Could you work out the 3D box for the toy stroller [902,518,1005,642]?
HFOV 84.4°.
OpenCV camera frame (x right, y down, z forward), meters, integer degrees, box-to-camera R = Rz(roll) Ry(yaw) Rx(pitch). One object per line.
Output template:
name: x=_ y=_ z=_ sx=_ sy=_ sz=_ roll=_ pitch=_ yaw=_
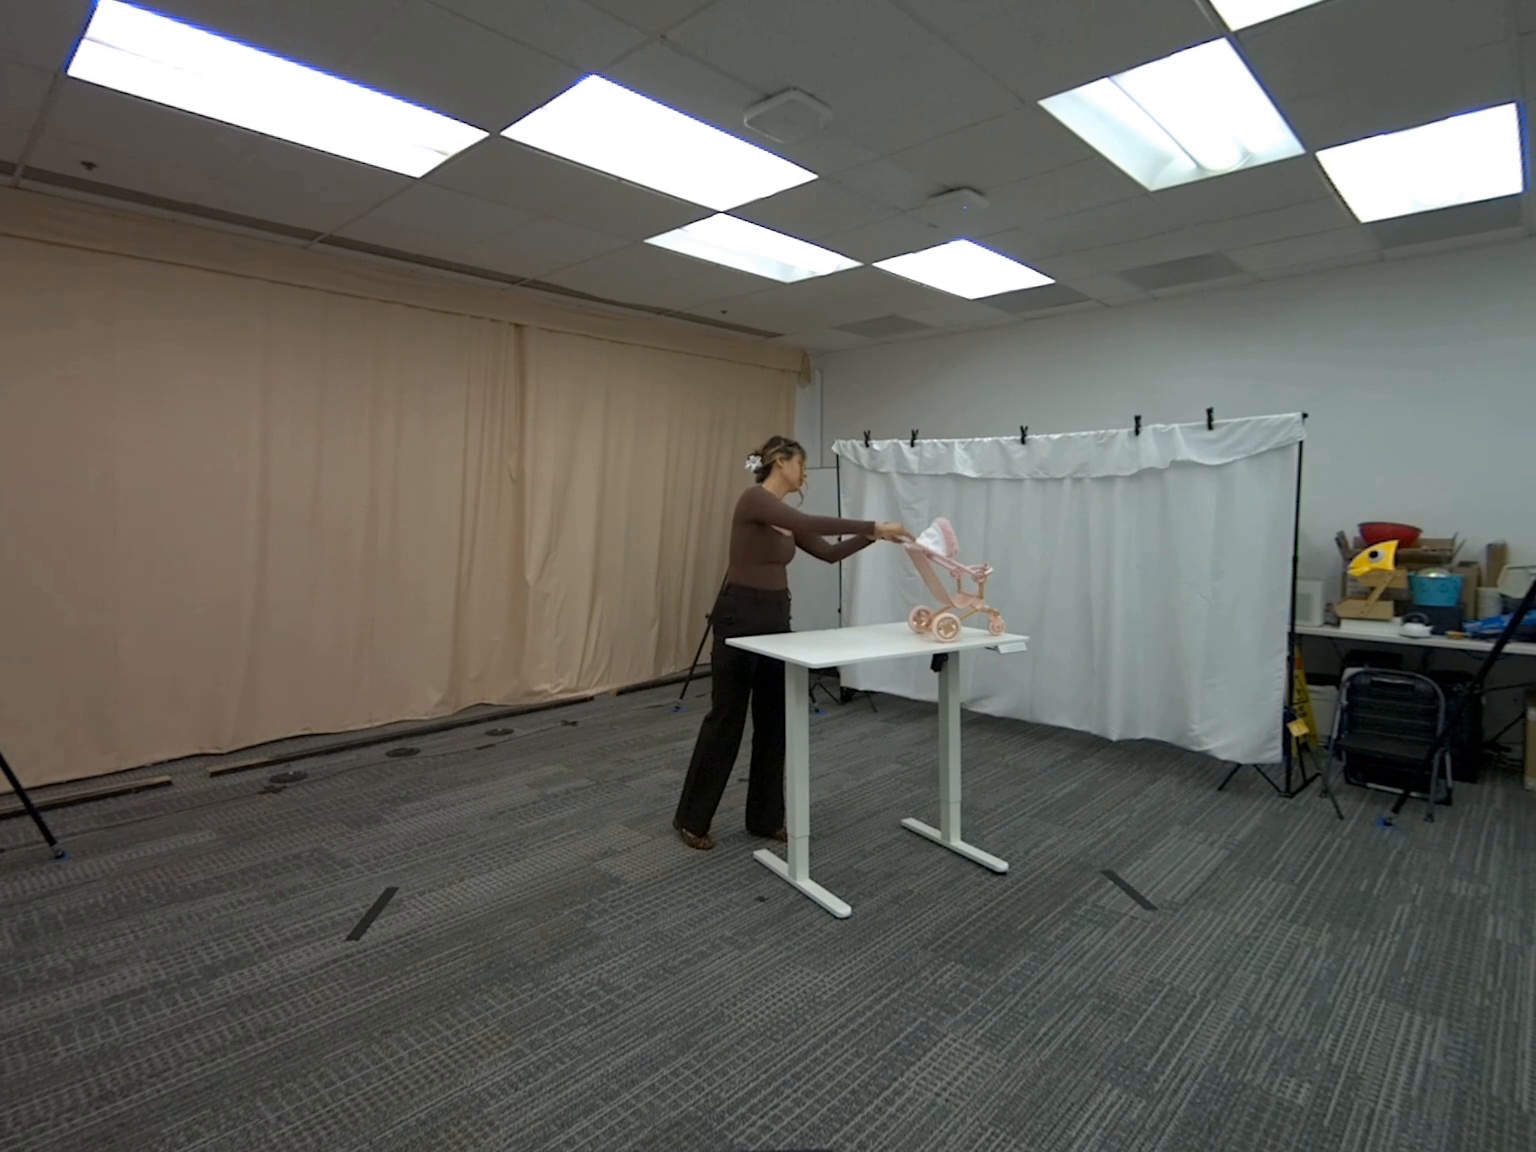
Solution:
toy stroller: x=0.701 y=0.022 z=3.223 sx=0.340 sy=0.533 sz=0.283 roll=-15 pitch=5 yaw=-4
